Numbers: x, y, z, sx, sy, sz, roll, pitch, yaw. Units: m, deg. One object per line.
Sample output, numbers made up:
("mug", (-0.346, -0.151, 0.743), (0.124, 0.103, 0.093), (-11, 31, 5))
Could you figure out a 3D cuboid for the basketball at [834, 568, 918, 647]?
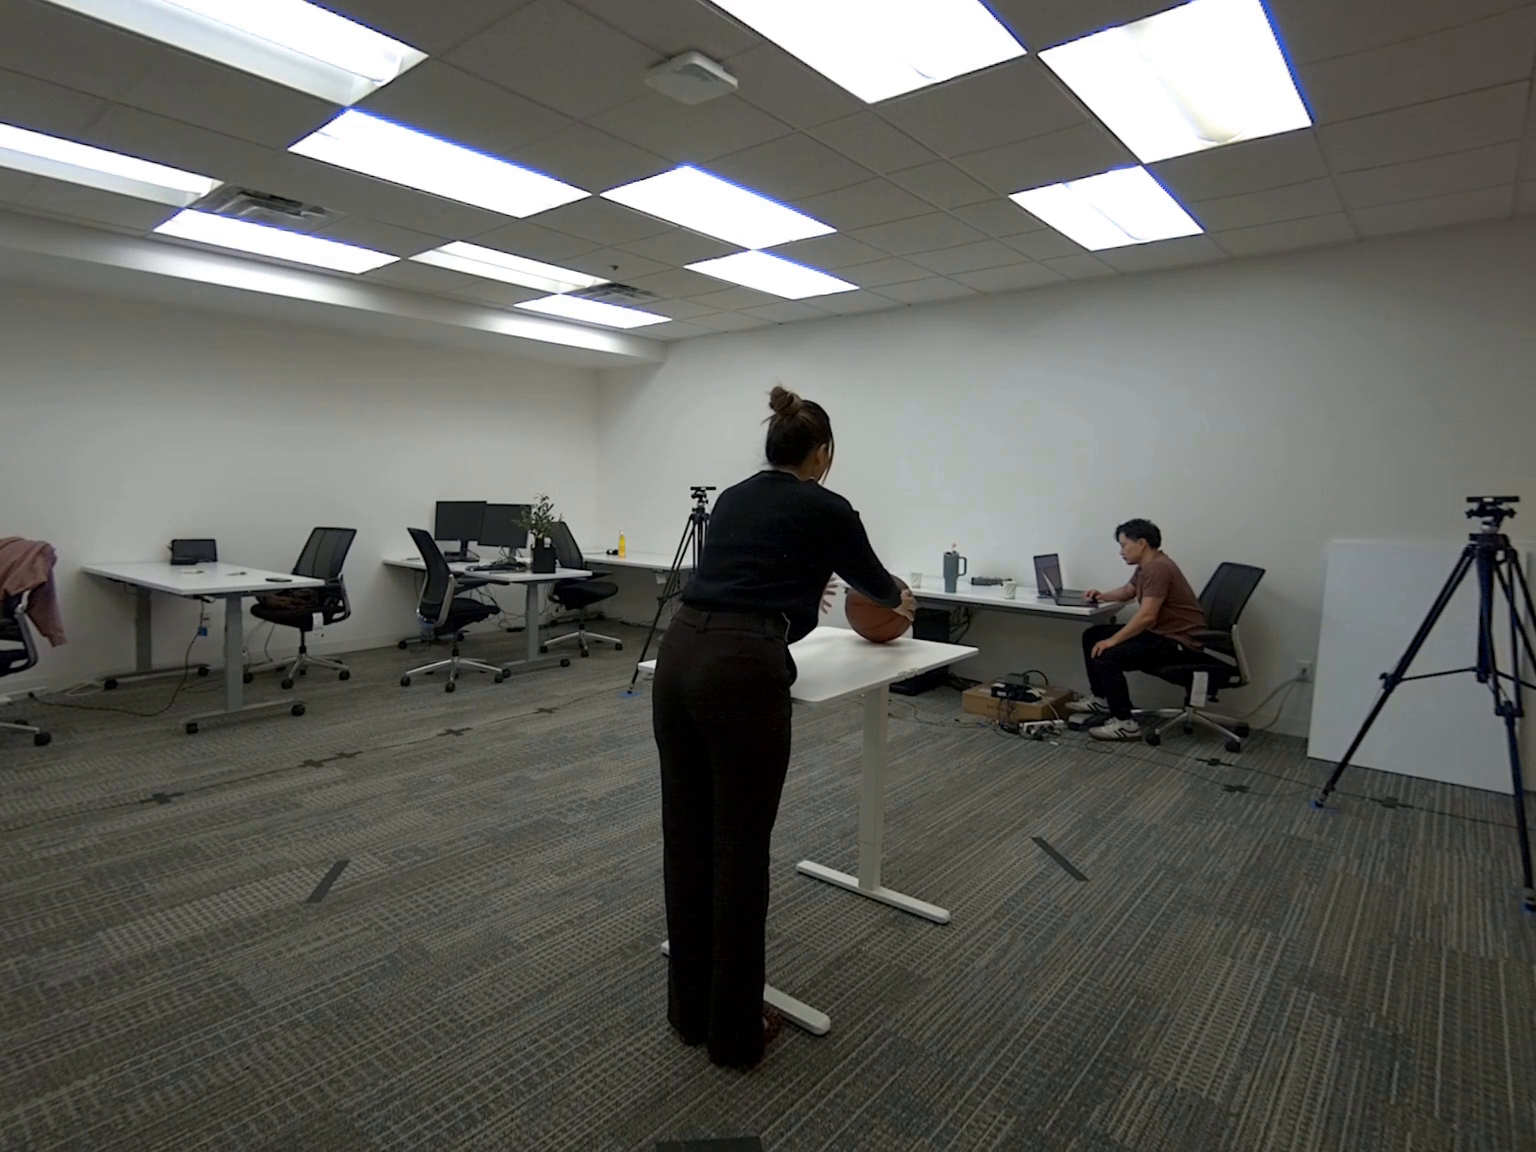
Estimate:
("basketball", (0.364, 0.099, 2.883), (0.235, 0.235, 0.237), (1, 4, -2))
